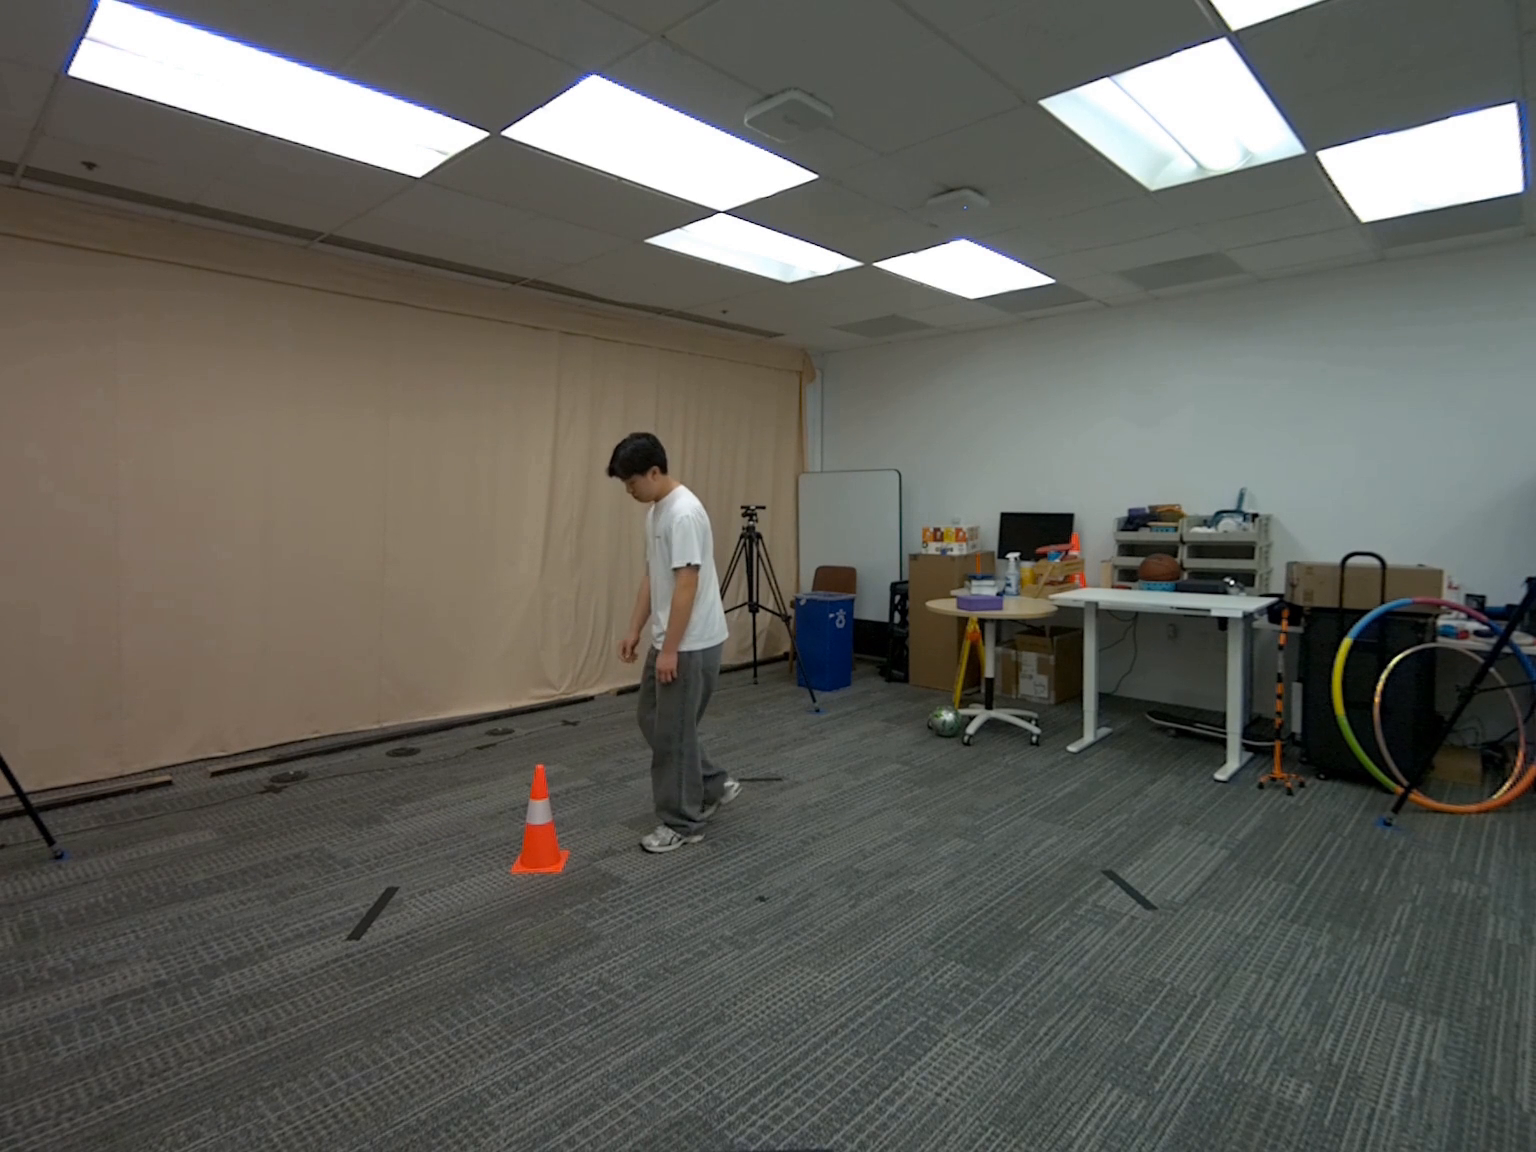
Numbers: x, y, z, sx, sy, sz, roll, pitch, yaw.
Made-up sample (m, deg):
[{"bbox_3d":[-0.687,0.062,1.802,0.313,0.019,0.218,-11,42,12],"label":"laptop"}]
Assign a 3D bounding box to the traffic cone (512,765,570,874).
[{"bbox_3d":[-0.902,0.940,3.308,0.204,0.383,0.204,-1,1,-3],"label":"traffic cone"}]
